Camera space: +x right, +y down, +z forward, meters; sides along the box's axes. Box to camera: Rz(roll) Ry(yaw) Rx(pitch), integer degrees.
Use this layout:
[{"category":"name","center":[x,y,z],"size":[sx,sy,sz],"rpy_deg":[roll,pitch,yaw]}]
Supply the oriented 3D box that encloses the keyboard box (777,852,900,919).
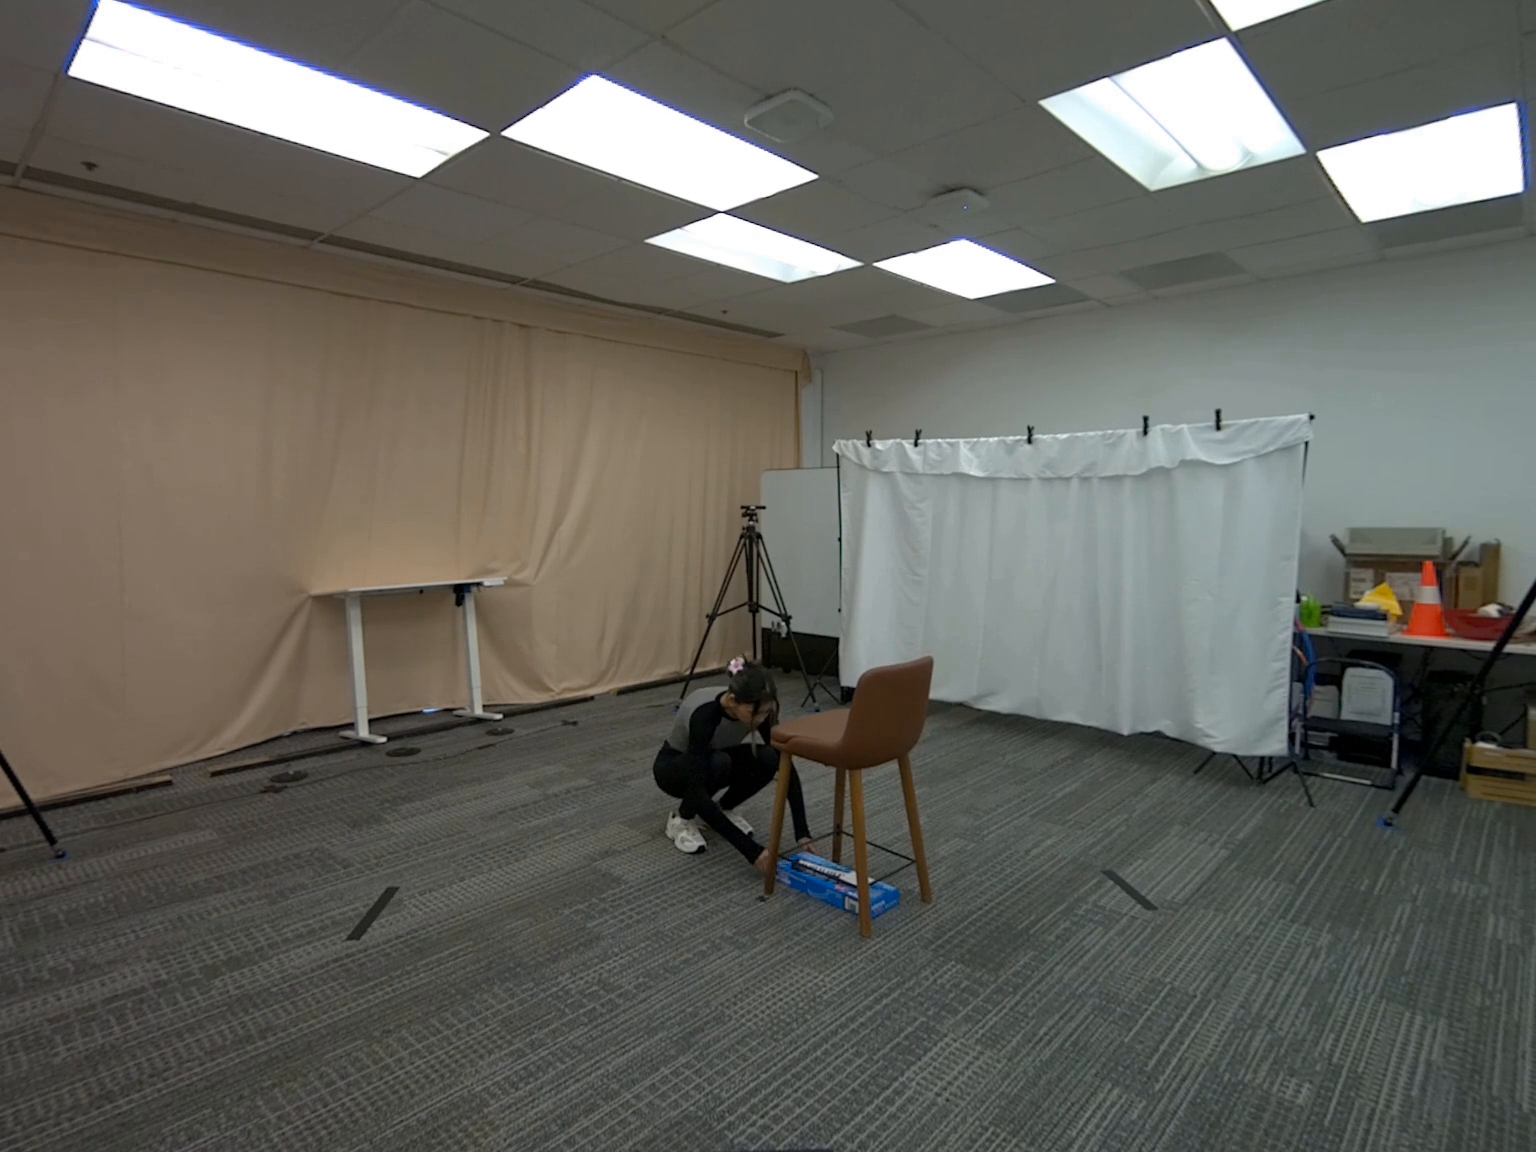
[{"category":"keyboard box","center":[0.247,1.112,3.033],"size":[0.170,0.059,0.451],"rpy_deg":[-5,7,-45]}]
